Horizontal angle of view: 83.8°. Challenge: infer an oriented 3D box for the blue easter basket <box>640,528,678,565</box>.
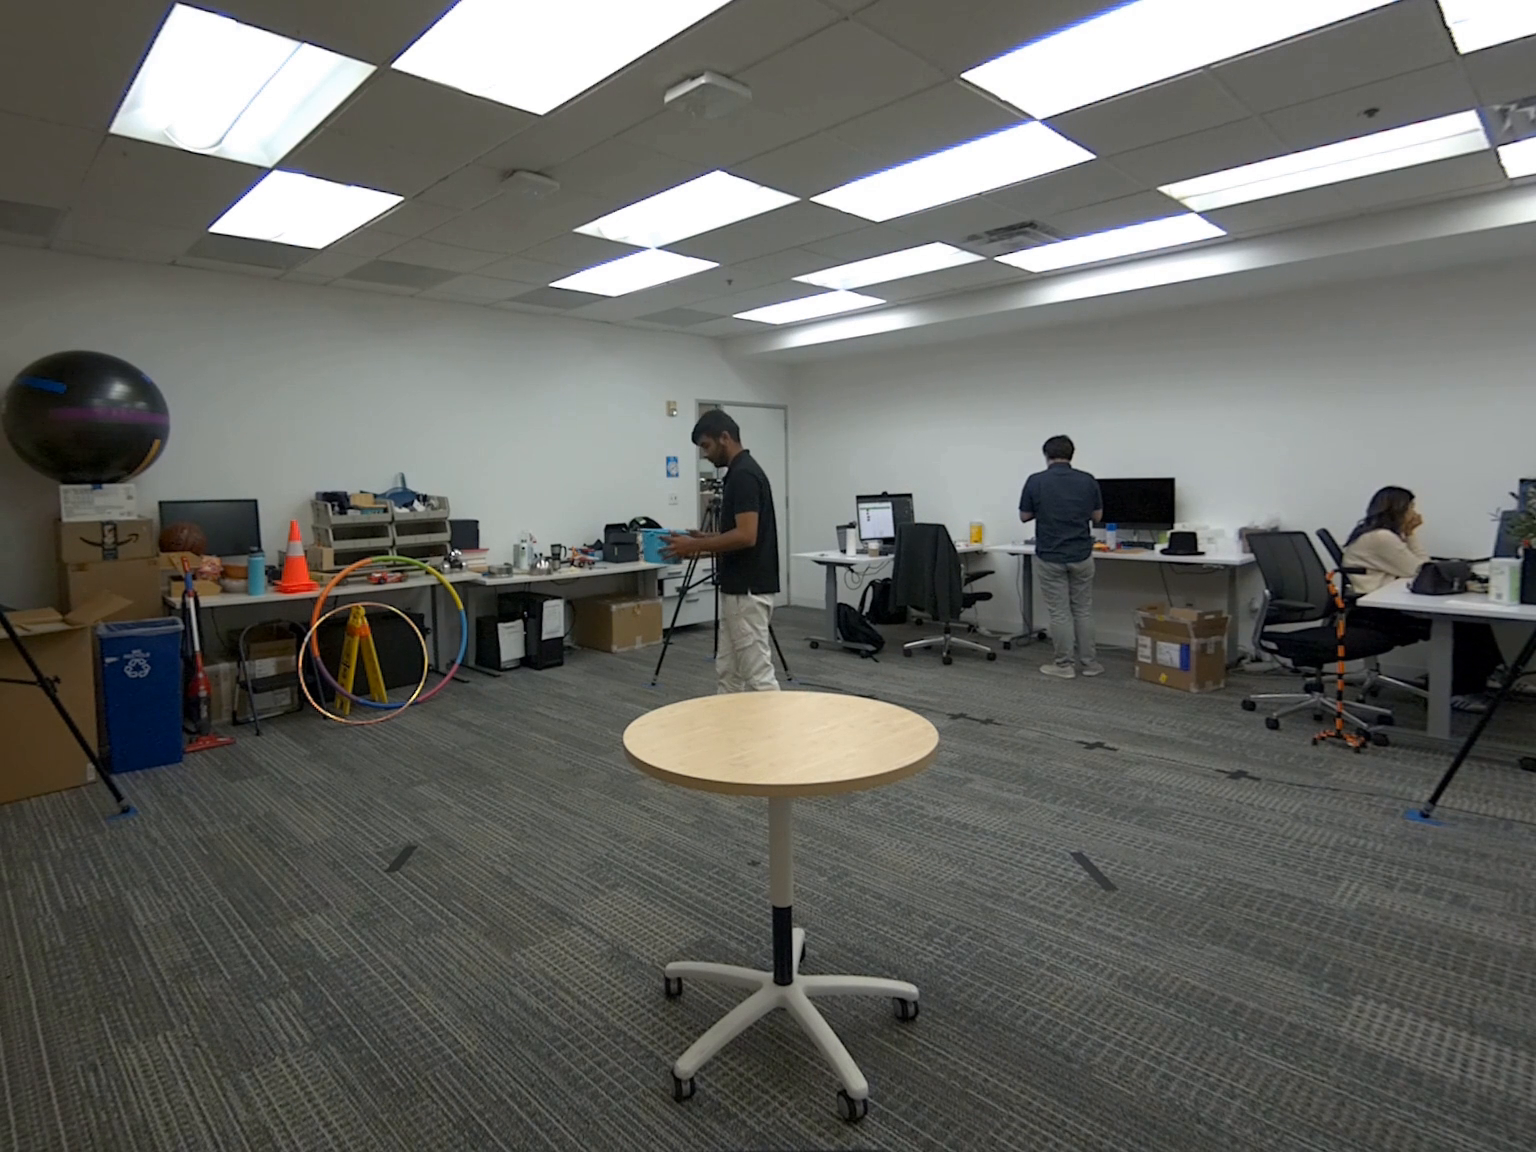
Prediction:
[{"bbox_3d":[-0.473,-0.144,4.049,0.243,0.155,0.244,2,4,-2],"label":"blue easter basket"}]
